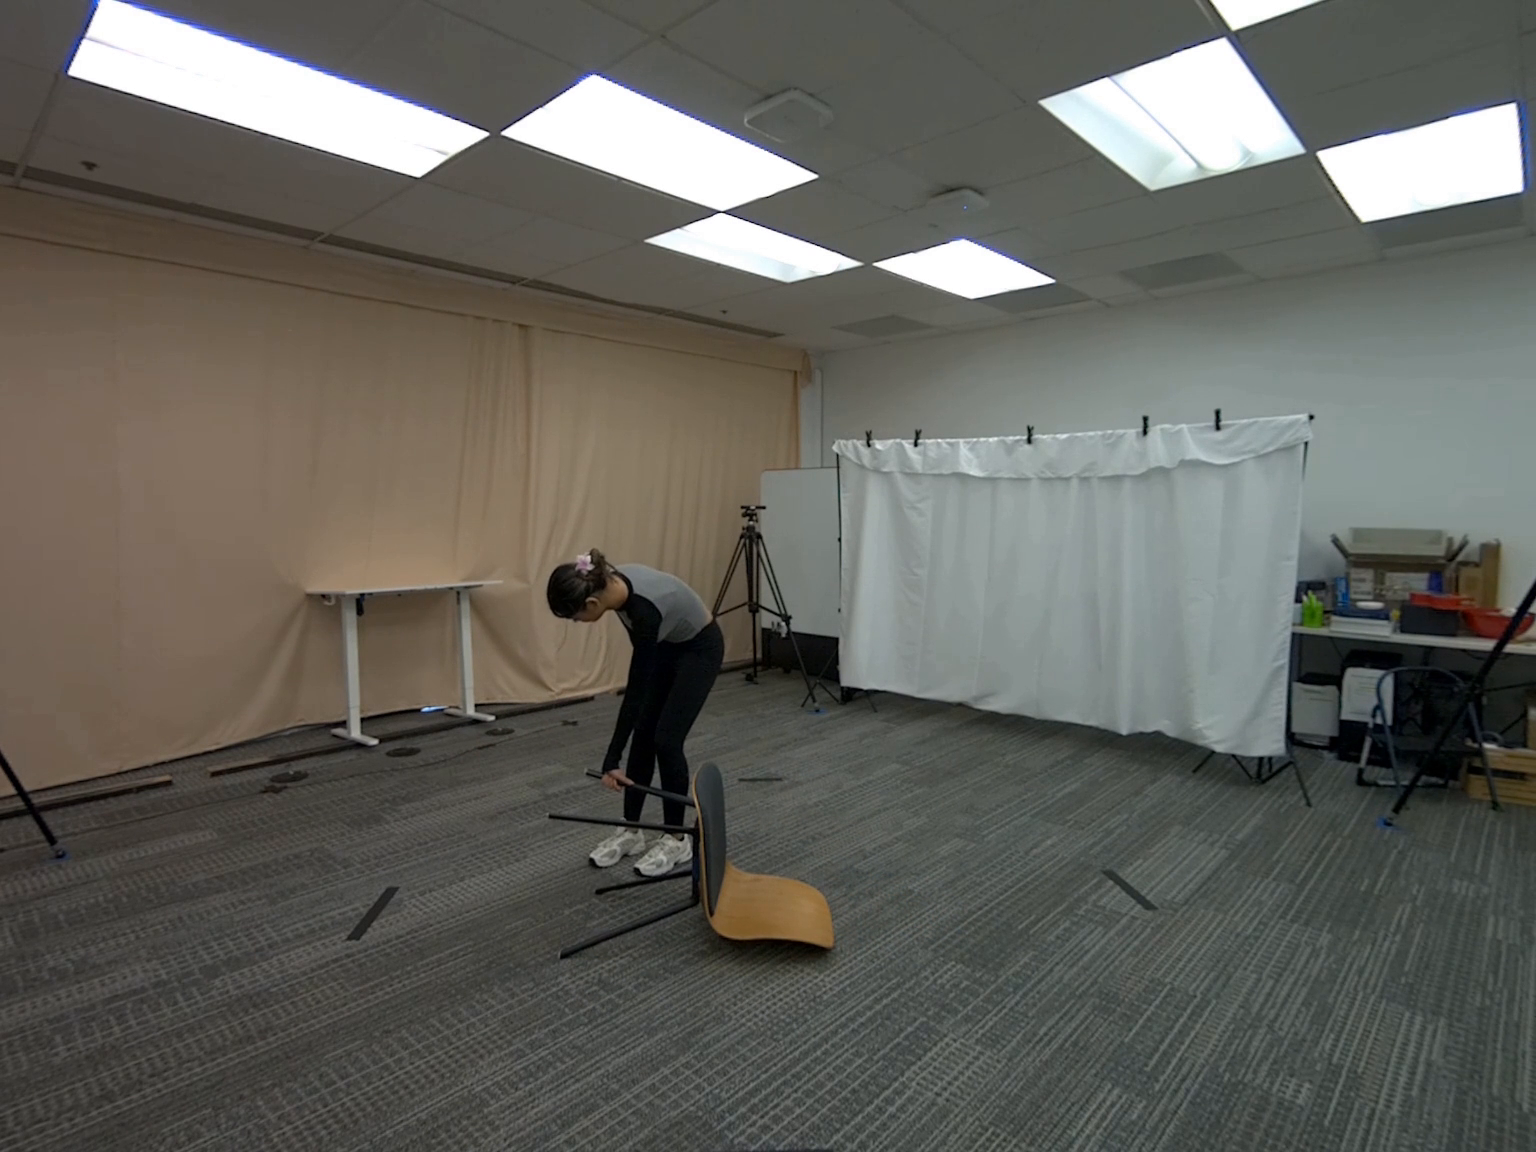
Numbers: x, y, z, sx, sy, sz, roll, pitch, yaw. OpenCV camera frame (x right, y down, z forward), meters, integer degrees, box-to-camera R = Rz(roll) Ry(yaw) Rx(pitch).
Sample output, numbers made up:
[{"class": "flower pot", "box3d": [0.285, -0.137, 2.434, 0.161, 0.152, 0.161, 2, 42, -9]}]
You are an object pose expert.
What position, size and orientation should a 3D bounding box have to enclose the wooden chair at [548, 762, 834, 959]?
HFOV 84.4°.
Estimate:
[{"class": "wooden chair", "box3d": [-0.216, 0.904, 2.754, 0.884, 0.522, 0.476, 1, 4, 6]}]
